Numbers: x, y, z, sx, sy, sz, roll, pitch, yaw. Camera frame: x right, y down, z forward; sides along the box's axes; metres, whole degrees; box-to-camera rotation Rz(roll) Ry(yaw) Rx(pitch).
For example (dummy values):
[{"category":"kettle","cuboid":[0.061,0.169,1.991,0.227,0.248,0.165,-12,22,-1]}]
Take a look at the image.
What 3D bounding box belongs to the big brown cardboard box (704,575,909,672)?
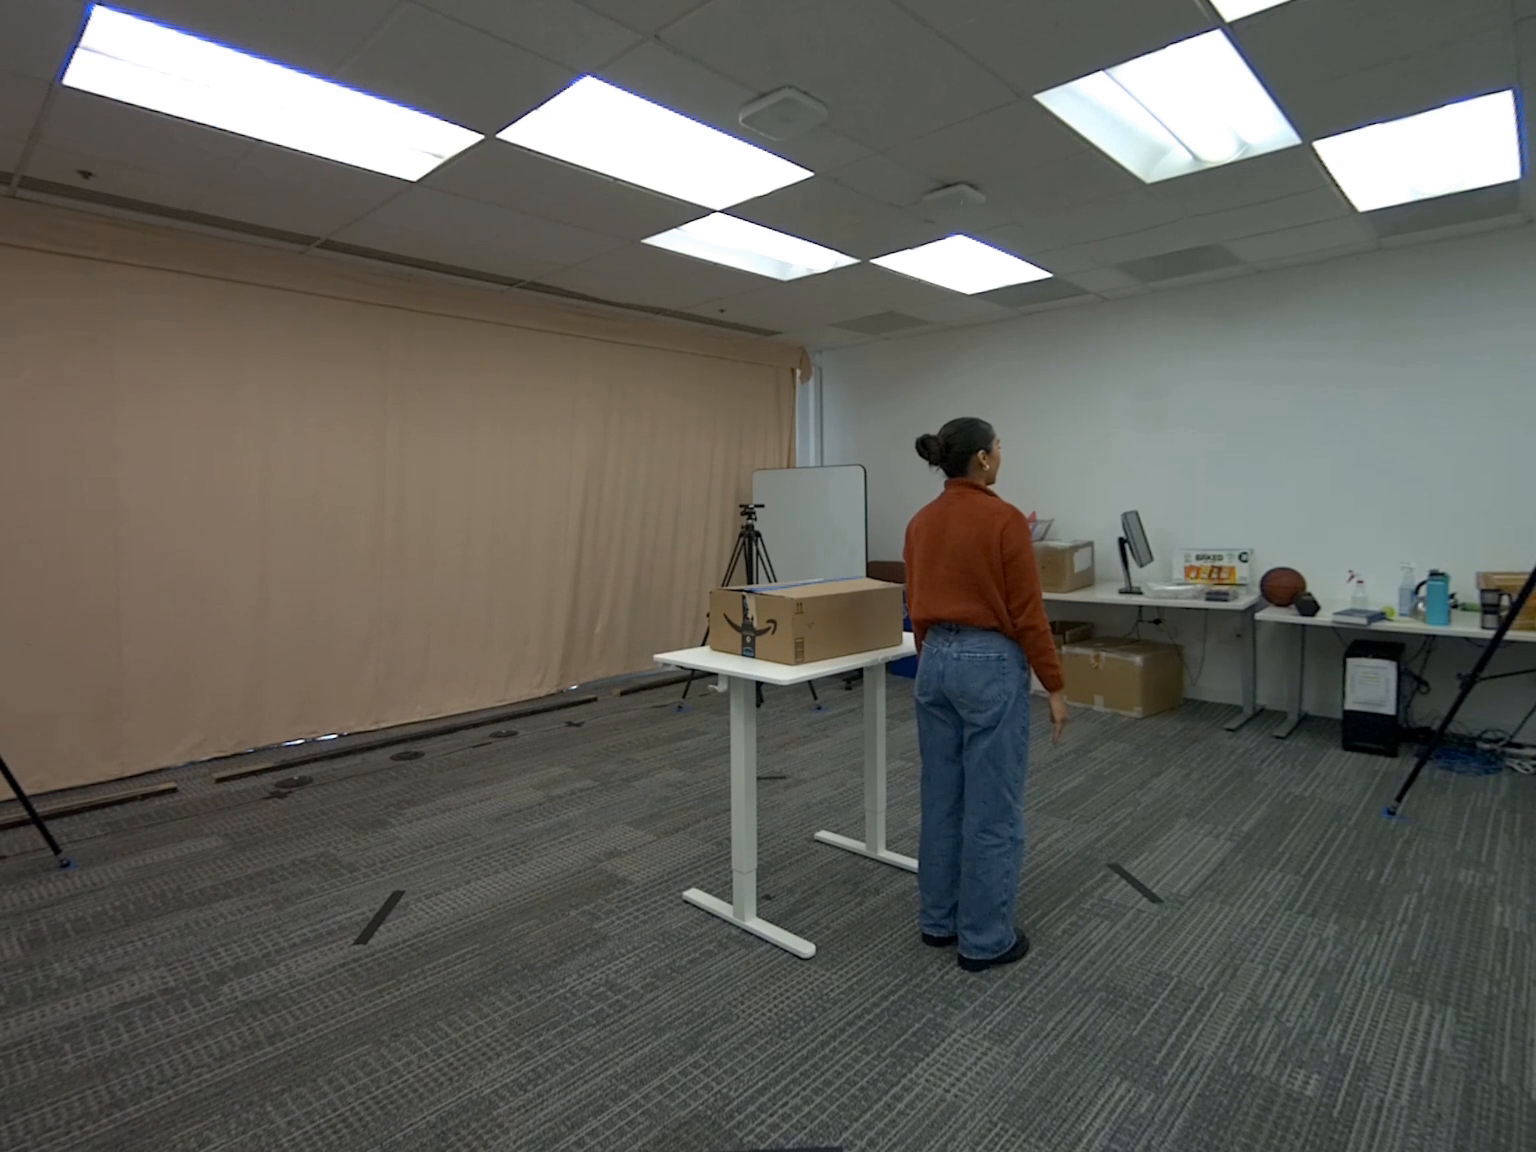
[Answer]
[{"category":"big brown cardboard box","cuboid":[0.138,0.146,2.991,0.571,0.232,0.431,-6,7,-40]}]
